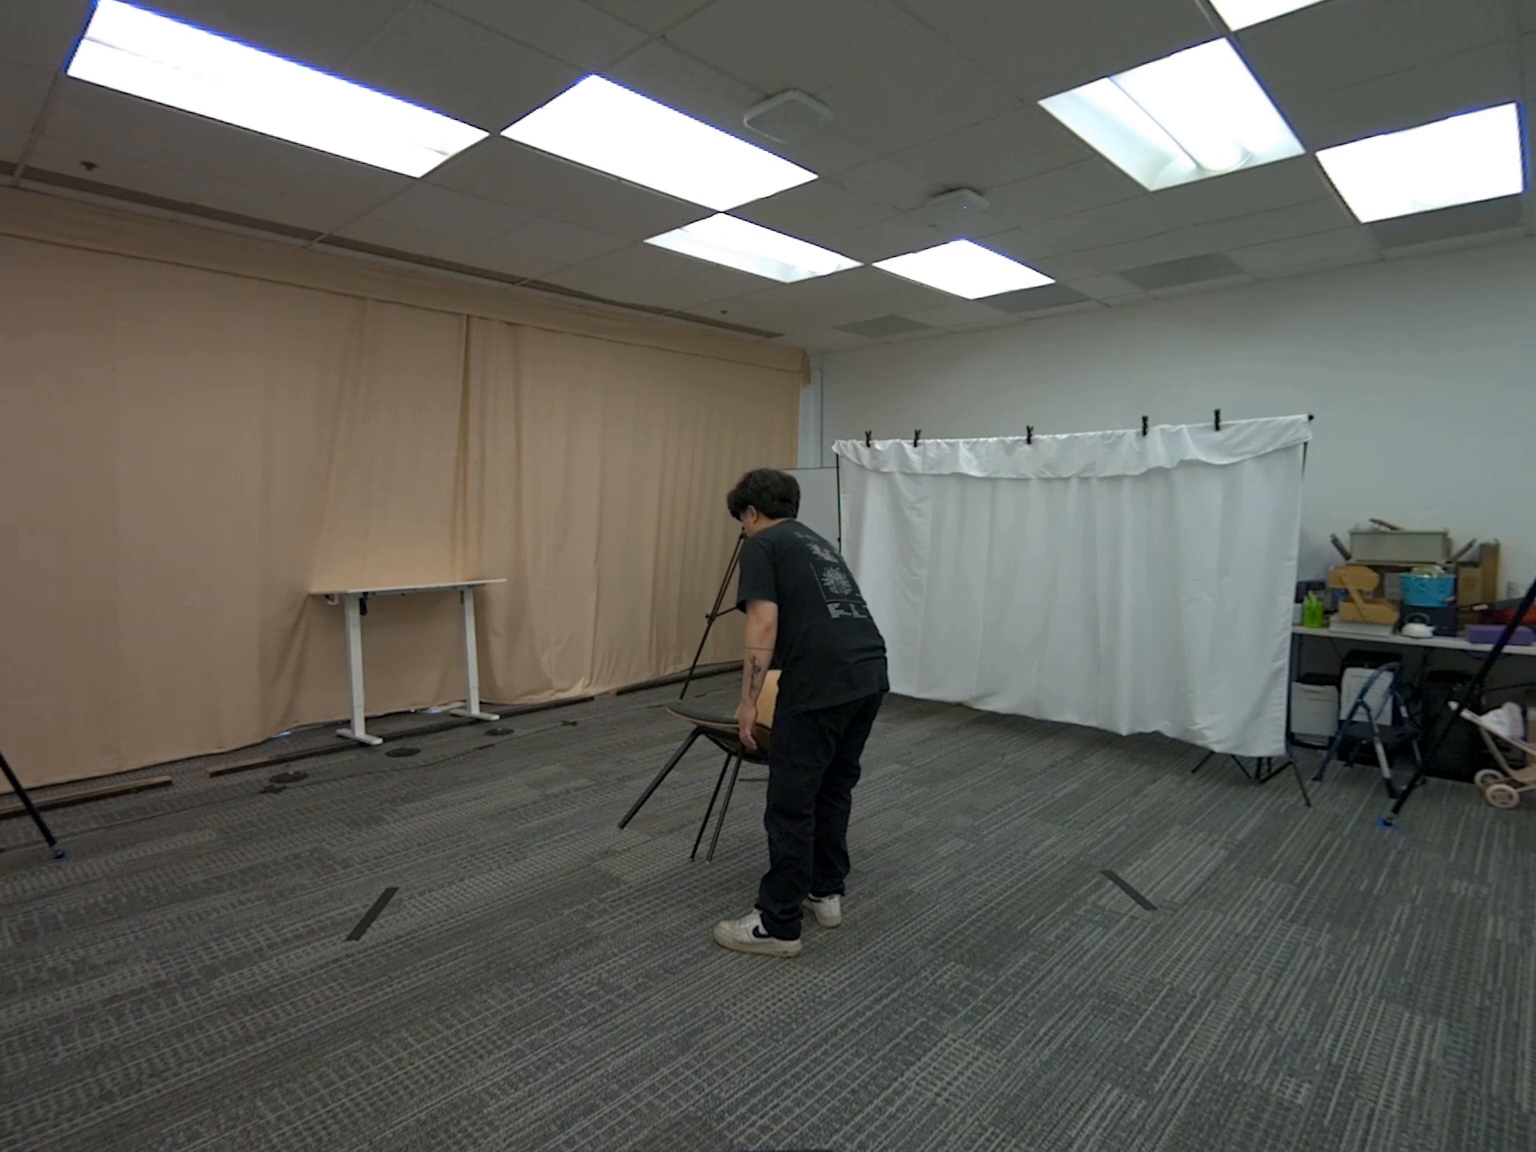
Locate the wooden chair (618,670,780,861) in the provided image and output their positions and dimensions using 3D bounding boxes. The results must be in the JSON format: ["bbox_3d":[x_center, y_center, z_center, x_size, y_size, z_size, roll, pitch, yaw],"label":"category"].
[{"bbox_3d":[-0.114,0.643,3.162,0.494,0.879,0.505,3,-32,41],"label":"wooden chair"}]
